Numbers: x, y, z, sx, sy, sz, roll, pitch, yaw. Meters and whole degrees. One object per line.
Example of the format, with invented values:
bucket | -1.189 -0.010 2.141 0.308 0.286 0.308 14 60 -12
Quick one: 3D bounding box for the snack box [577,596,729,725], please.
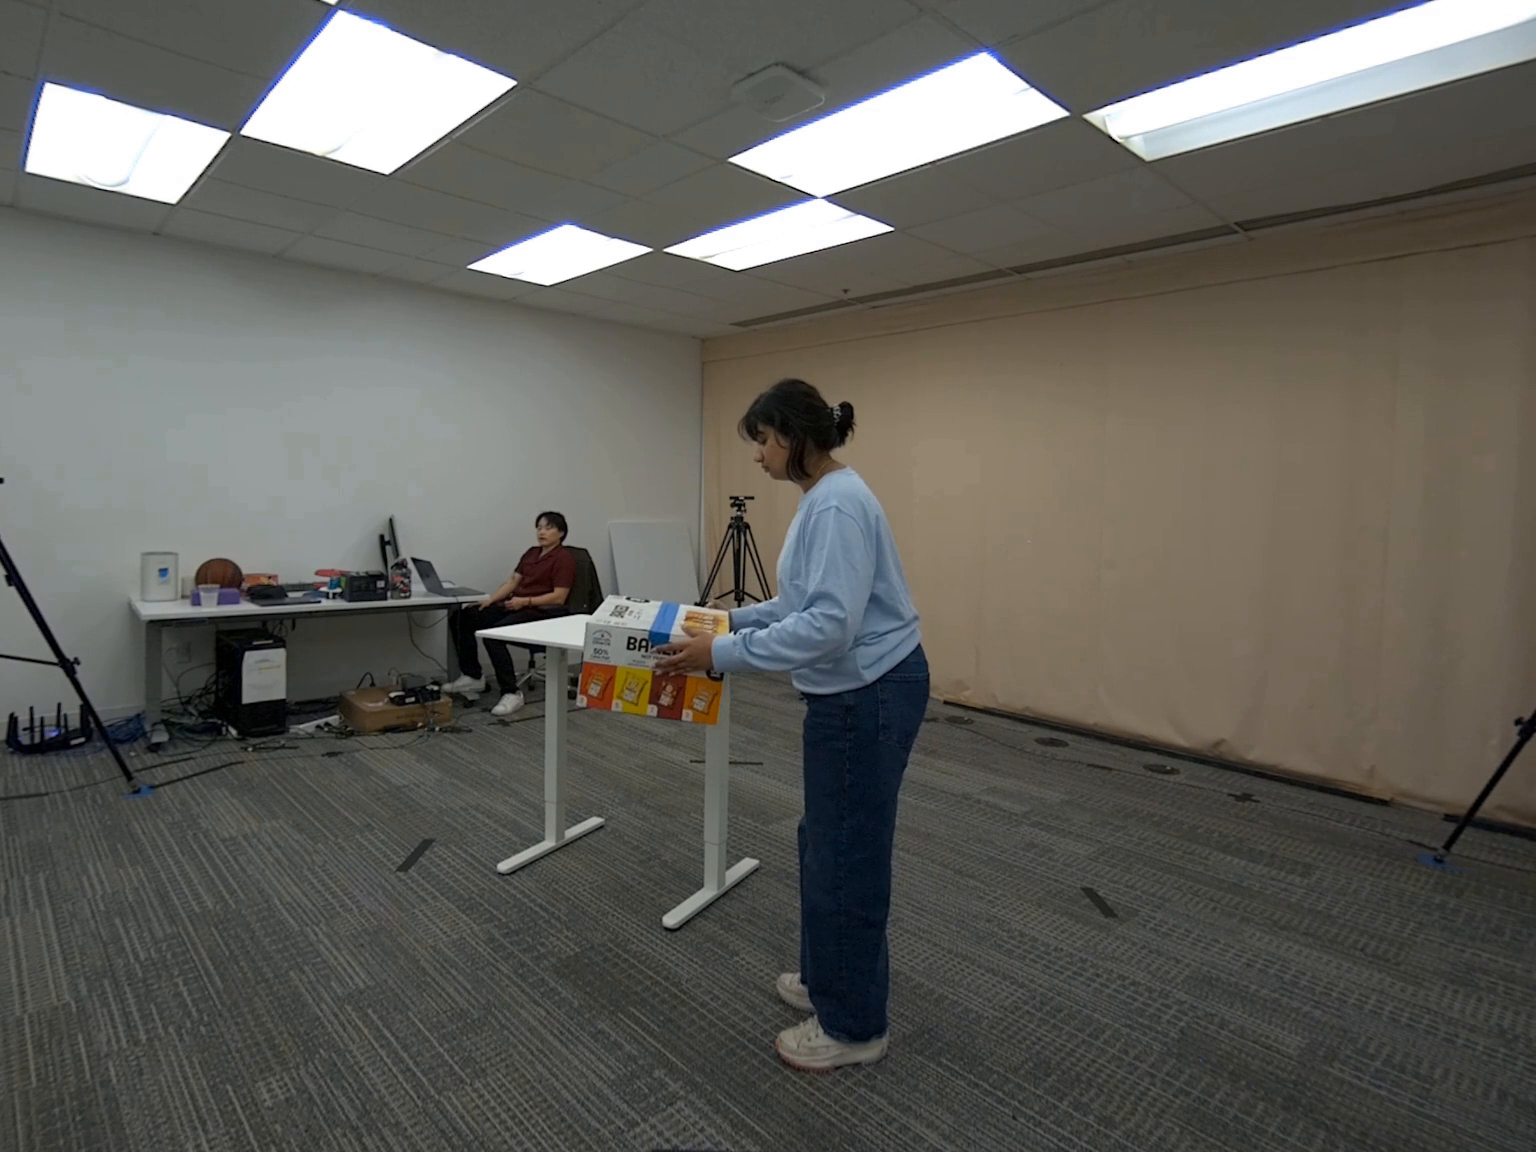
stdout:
snack box | -0.285 0.208 2.174 0.340 0.205 0.407 9 7 -3
